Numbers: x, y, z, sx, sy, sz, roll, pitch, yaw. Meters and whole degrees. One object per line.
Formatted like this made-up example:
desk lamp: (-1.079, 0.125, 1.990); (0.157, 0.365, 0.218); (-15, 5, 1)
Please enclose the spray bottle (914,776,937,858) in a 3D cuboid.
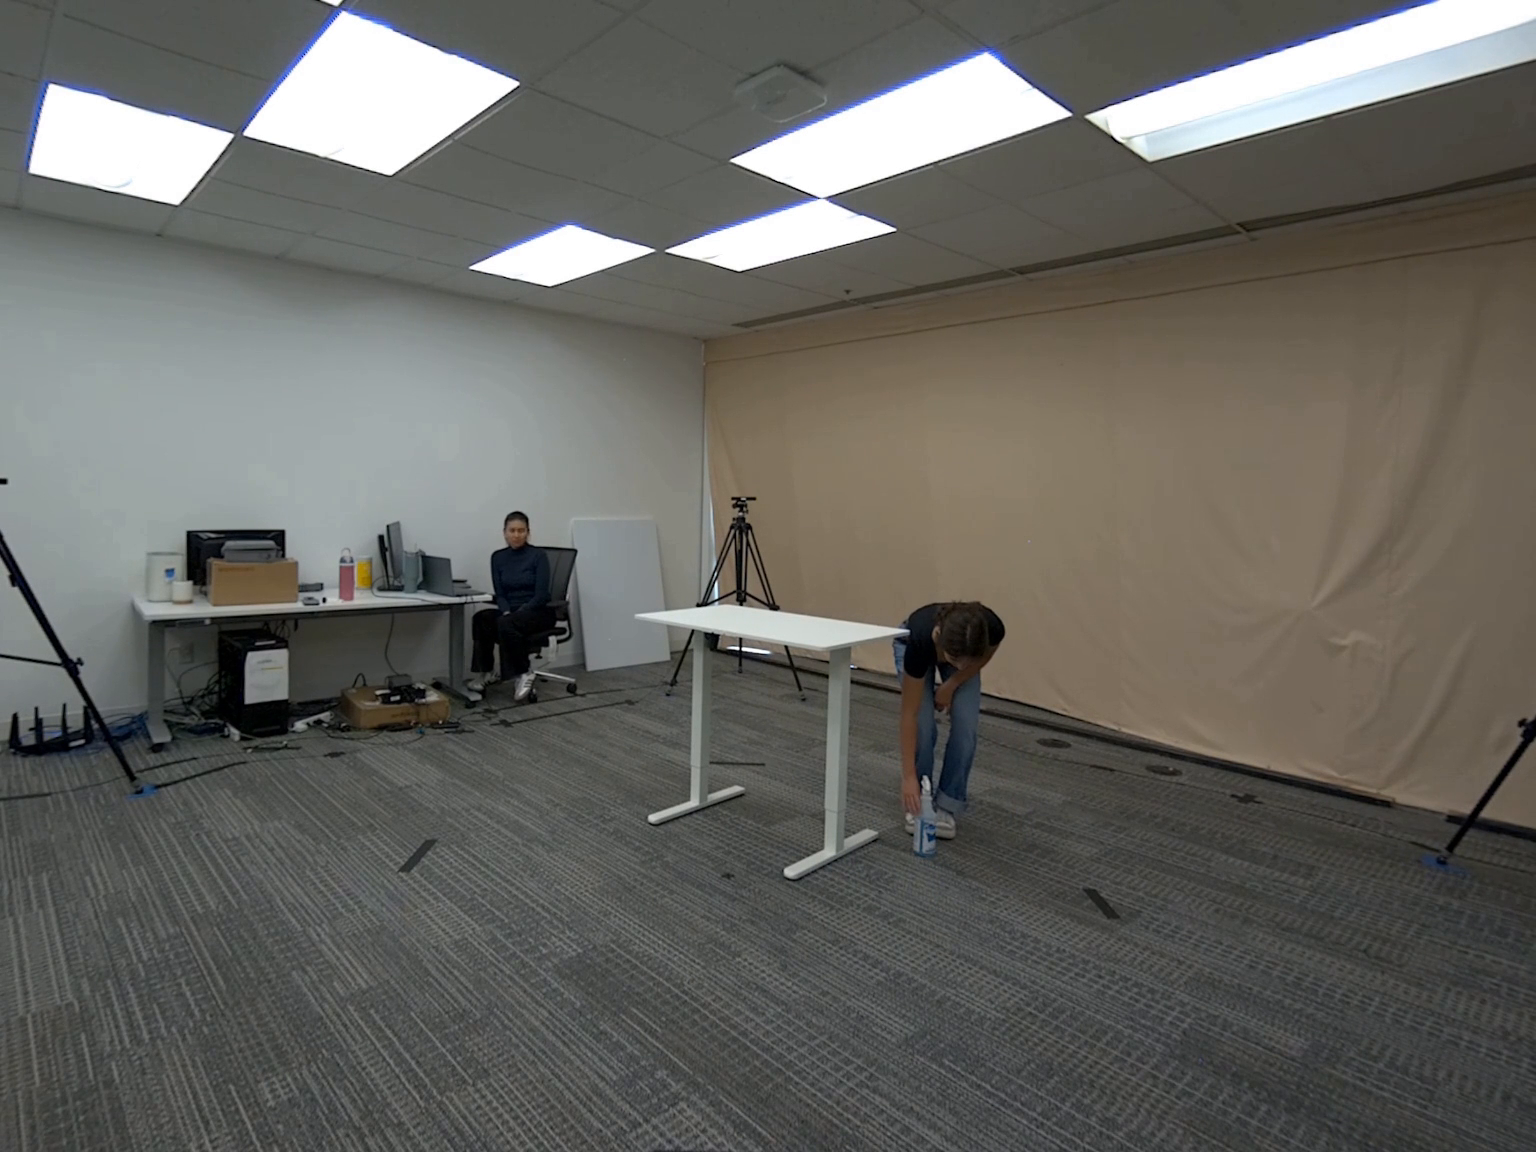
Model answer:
spray bottle: (0.620, 0.958, 3.355); (0.089, 0.297, 0.088); (3, 2, 27)
